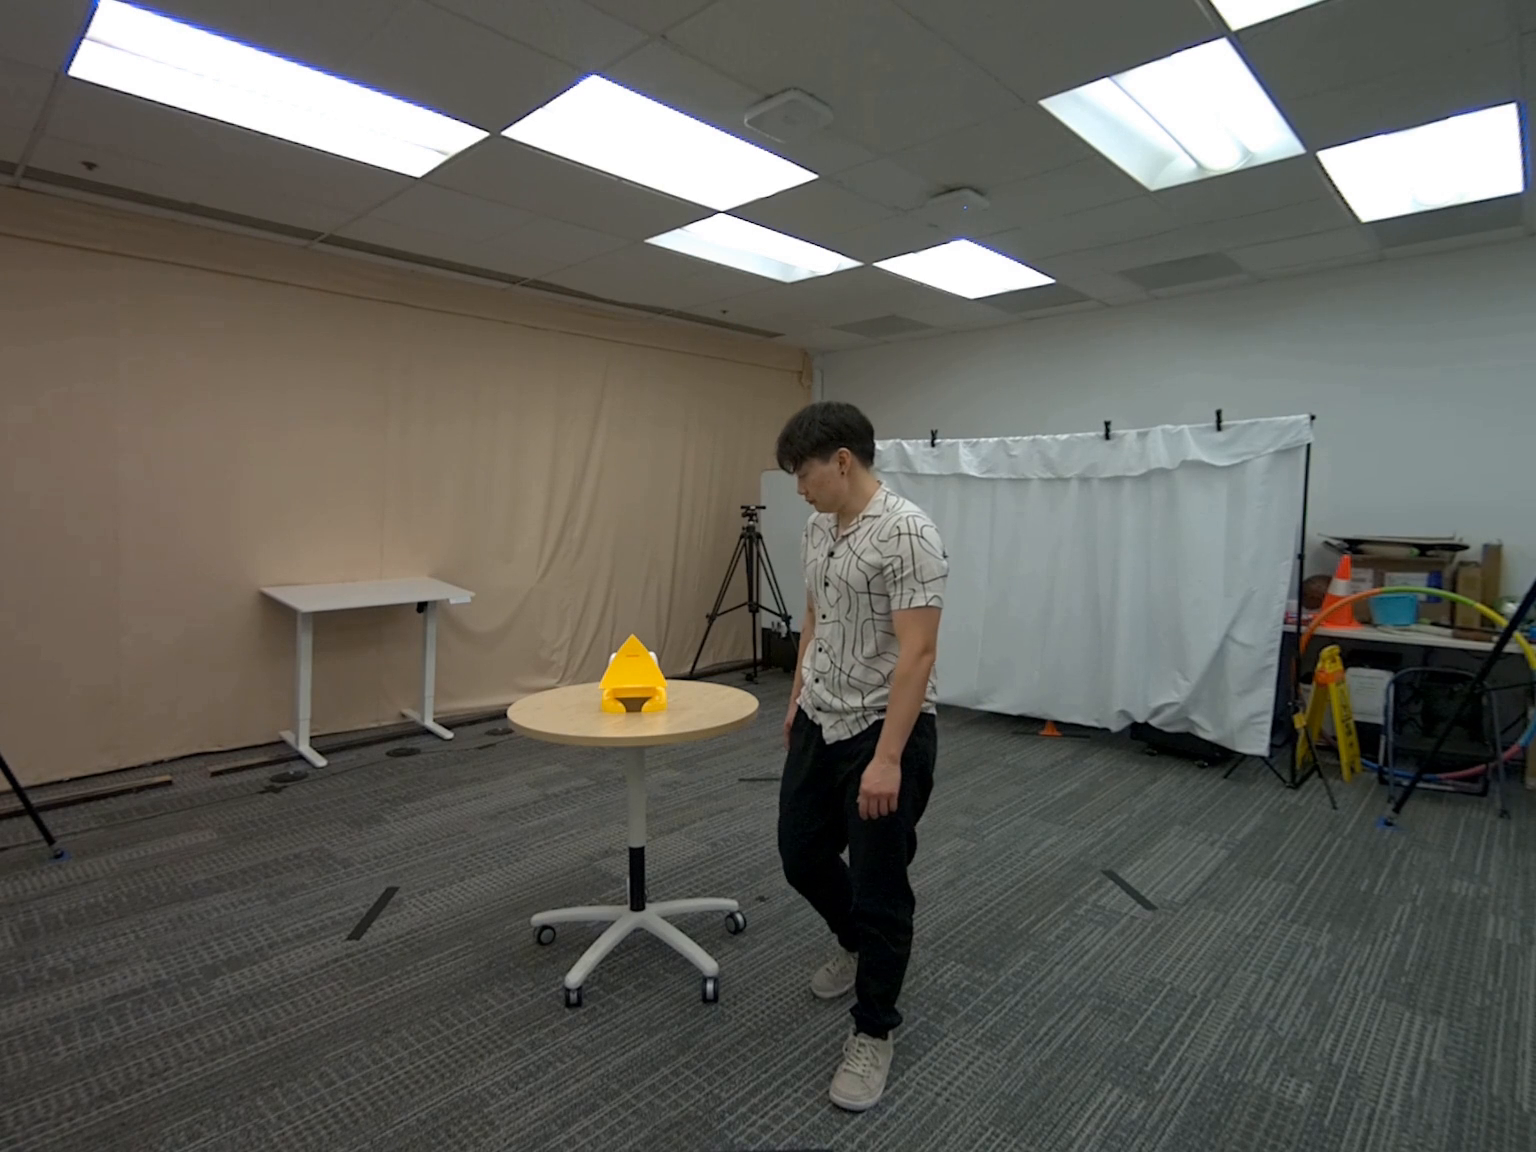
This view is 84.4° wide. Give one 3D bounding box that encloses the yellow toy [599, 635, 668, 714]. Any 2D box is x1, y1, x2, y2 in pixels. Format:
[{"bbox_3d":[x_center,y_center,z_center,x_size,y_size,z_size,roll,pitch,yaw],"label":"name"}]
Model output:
[{"bbox_3d":[-0.411,0.286,2.546,0.204,0.230,0.194,-1,3,-5],"label":"yellow toy"}]
